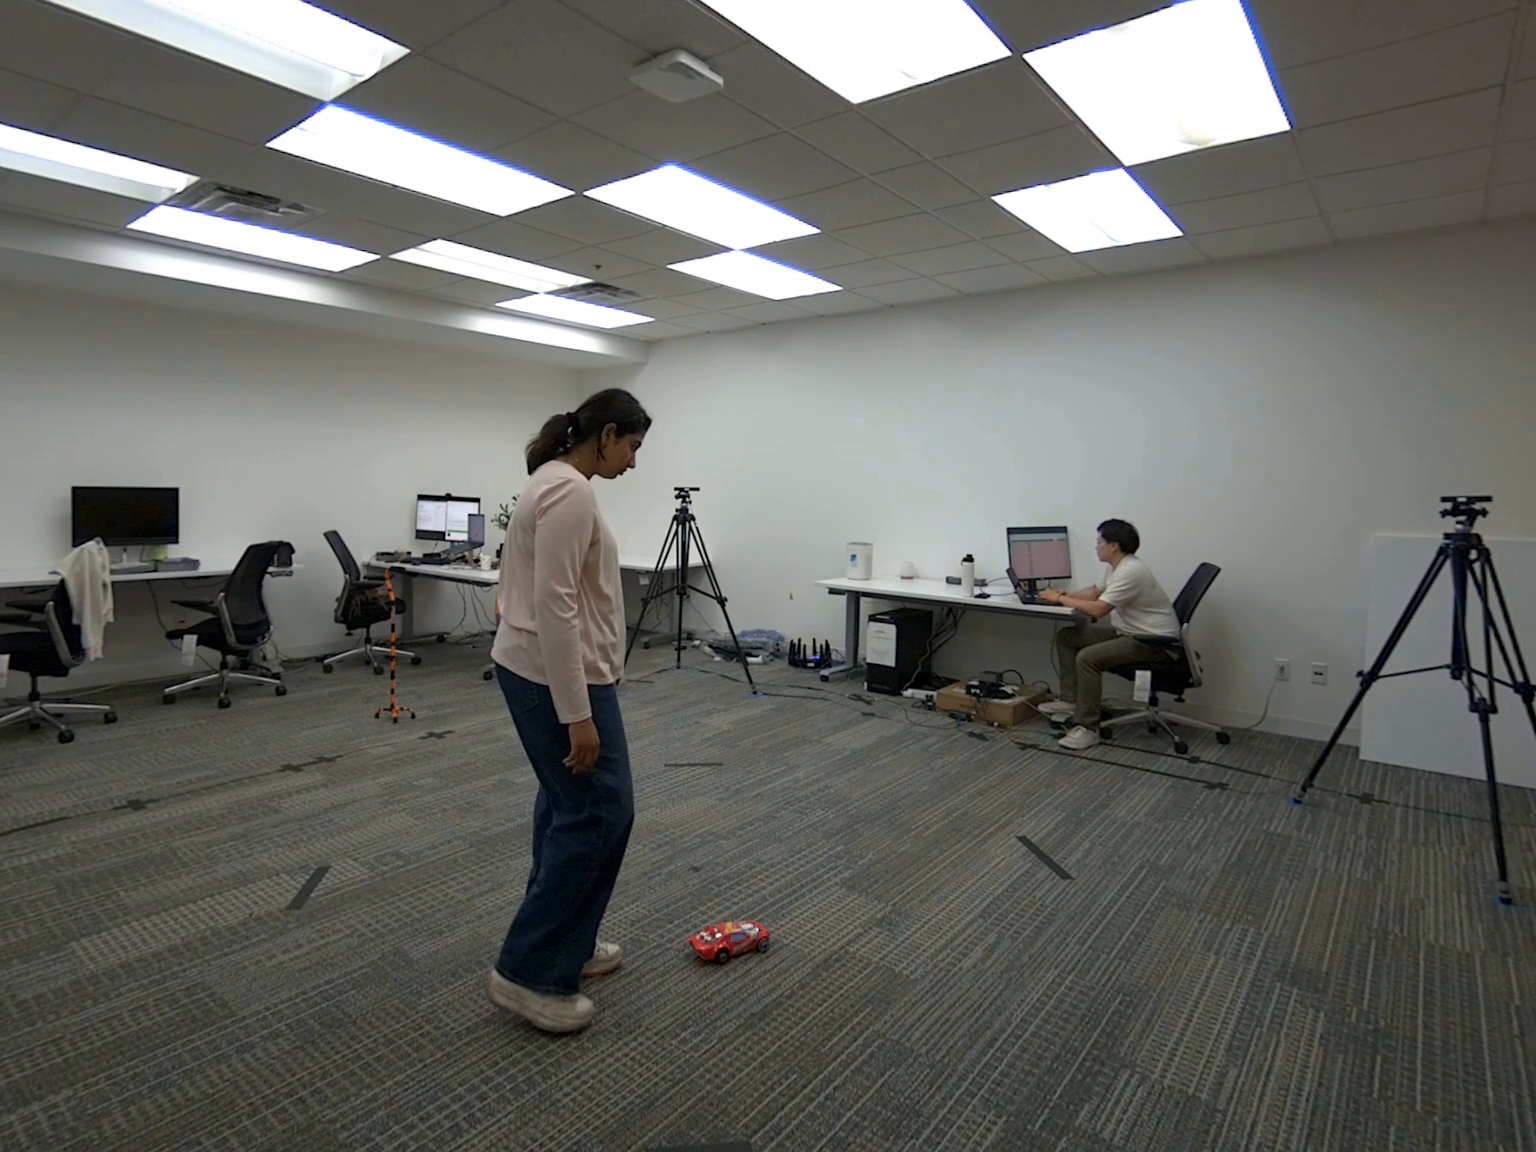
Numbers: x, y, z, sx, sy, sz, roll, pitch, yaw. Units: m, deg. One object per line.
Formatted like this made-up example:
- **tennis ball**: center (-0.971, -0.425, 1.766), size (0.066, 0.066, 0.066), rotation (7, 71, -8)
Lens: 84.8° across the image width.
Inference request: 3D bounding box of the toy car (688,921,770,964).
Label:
- **toy car**: center (-0.129, 1.092, 2.549), size (0.246, 0.083, 0.134), rotation (11, 0, -31)
